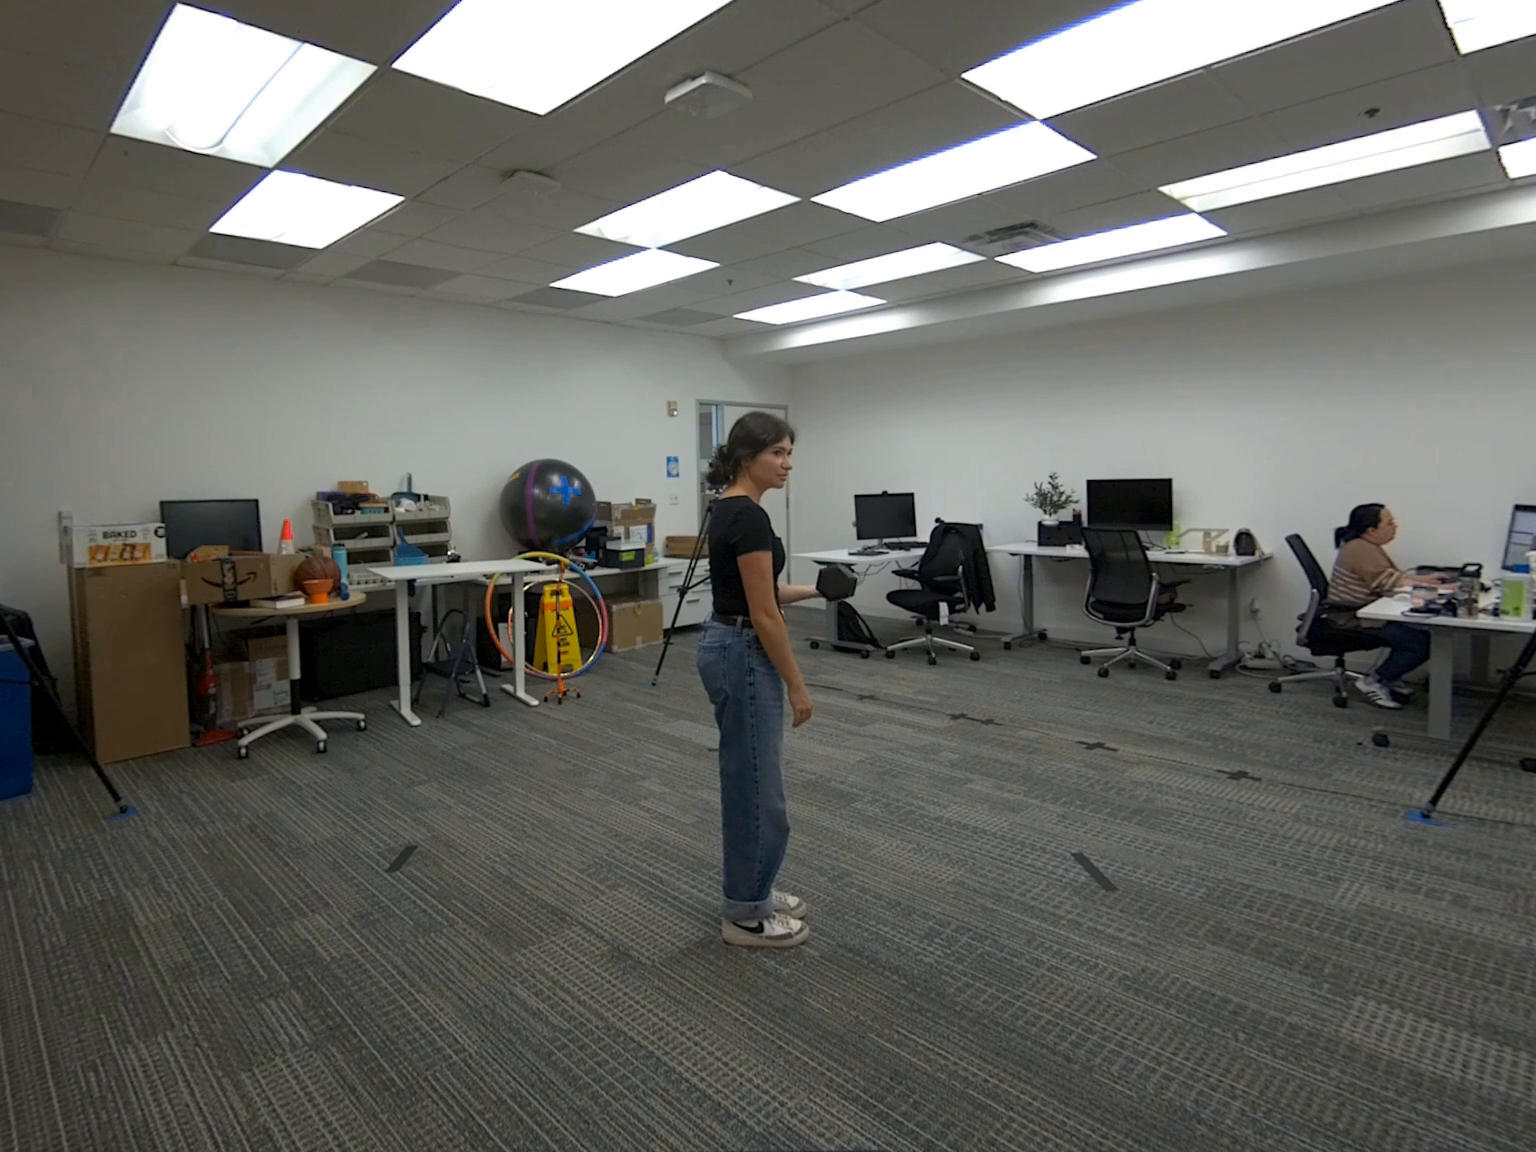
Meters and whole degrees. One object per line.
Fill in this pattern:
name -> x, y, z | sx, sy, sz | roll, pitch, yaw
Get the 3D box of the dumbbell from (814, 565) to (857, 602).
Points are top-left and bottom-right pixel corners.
dumbbell -> 0.214, 0.022, 2.749 | 0.123, 0.109, 0.290 | -18, -3, 7
